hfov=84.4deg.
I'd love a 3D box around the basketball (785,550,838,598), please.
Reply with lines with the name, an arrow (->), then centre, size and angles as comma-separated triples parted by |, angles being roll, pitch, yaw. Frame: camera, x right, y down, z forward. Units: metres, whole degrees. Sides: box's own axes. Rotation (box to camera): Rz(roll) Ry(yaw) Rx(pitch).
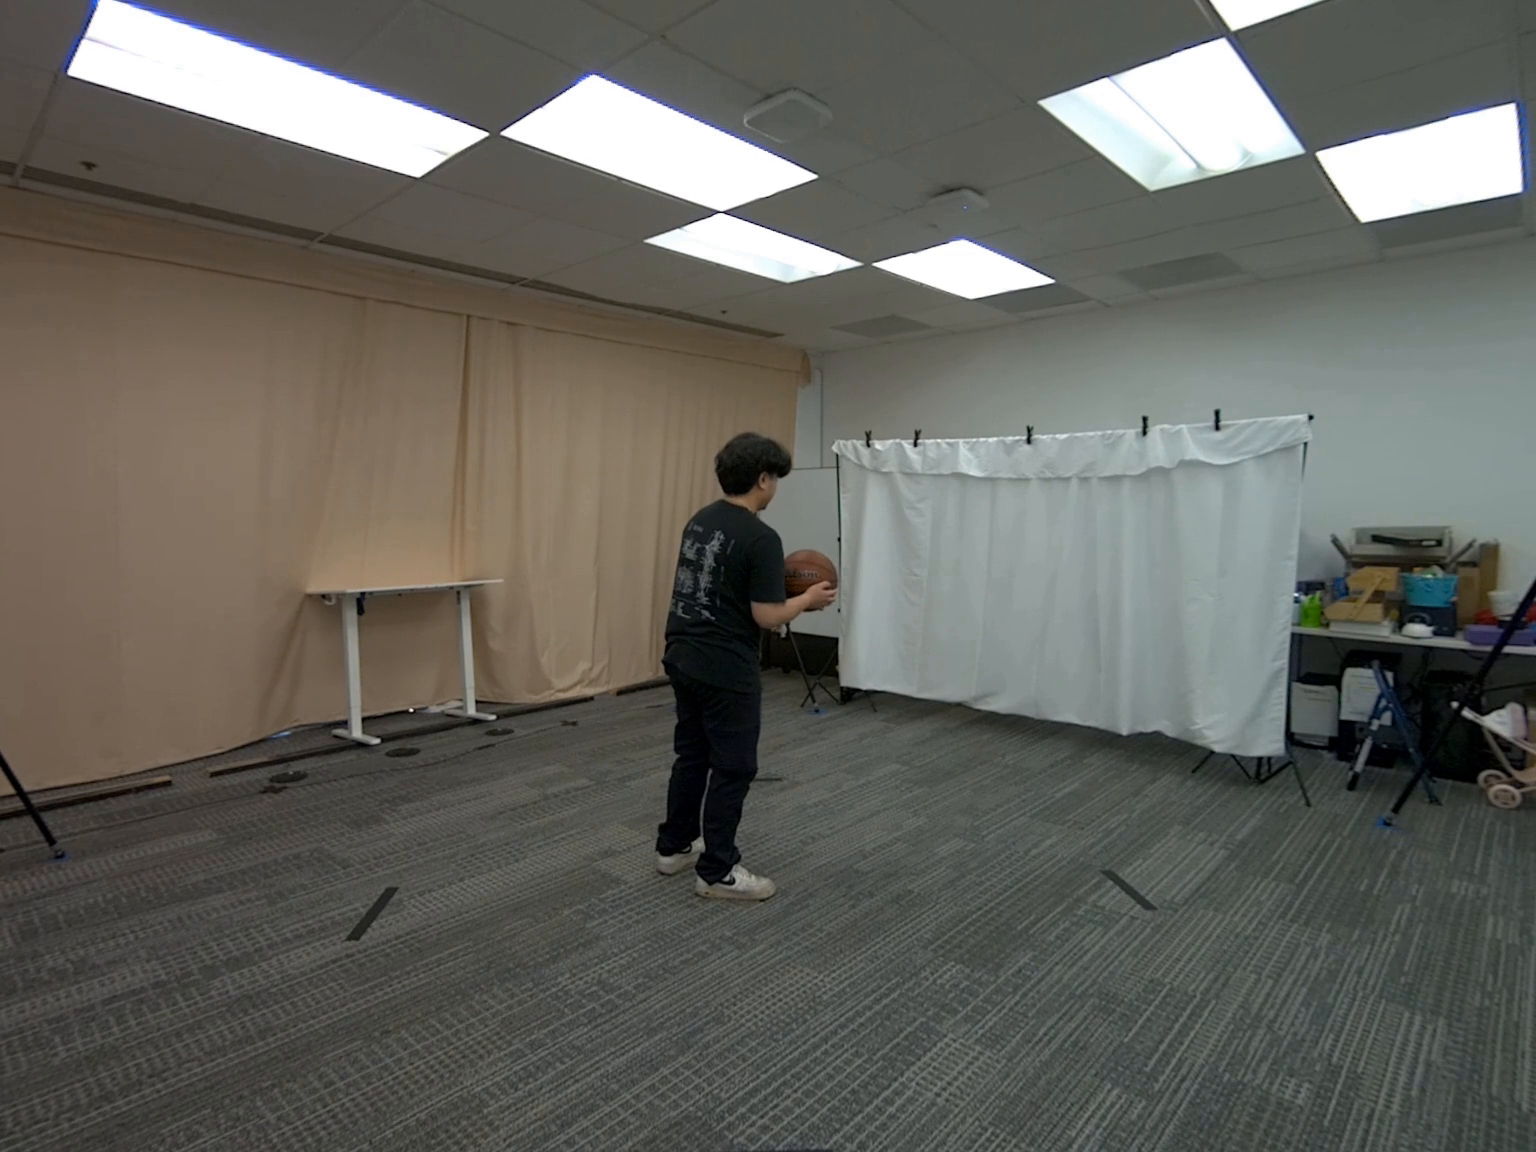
basketball -> 0.148, 0.021, 3.213 | 0.236, 0.235, 0.237 | 0, 4, -2
